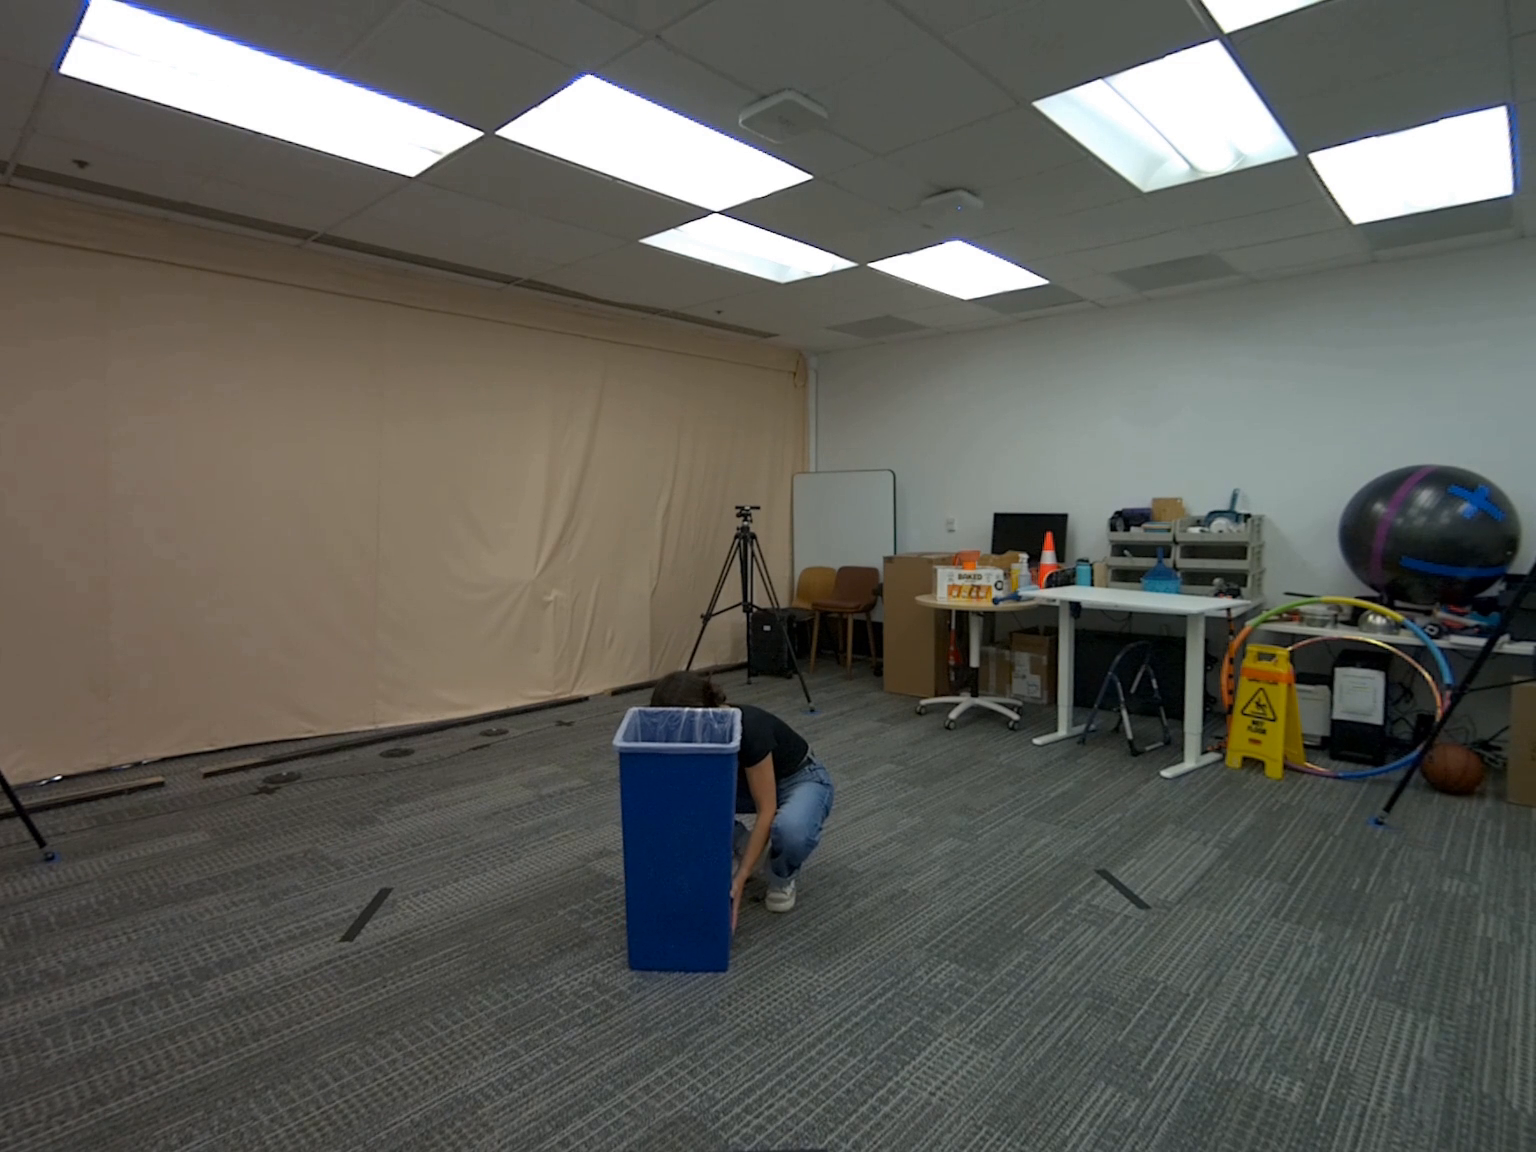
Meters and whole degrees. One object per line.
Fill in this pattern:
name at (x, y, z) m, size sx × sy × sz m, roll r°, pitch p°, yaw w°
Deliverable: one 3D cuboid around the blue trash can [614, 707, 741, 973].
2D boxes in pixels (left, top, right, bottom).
blue trash can at (-0.269, 0.809, 2.626) m, size 0.379 × 0.711 × 0.375 m, roll 0°, pitch 6°, yaw 1°
